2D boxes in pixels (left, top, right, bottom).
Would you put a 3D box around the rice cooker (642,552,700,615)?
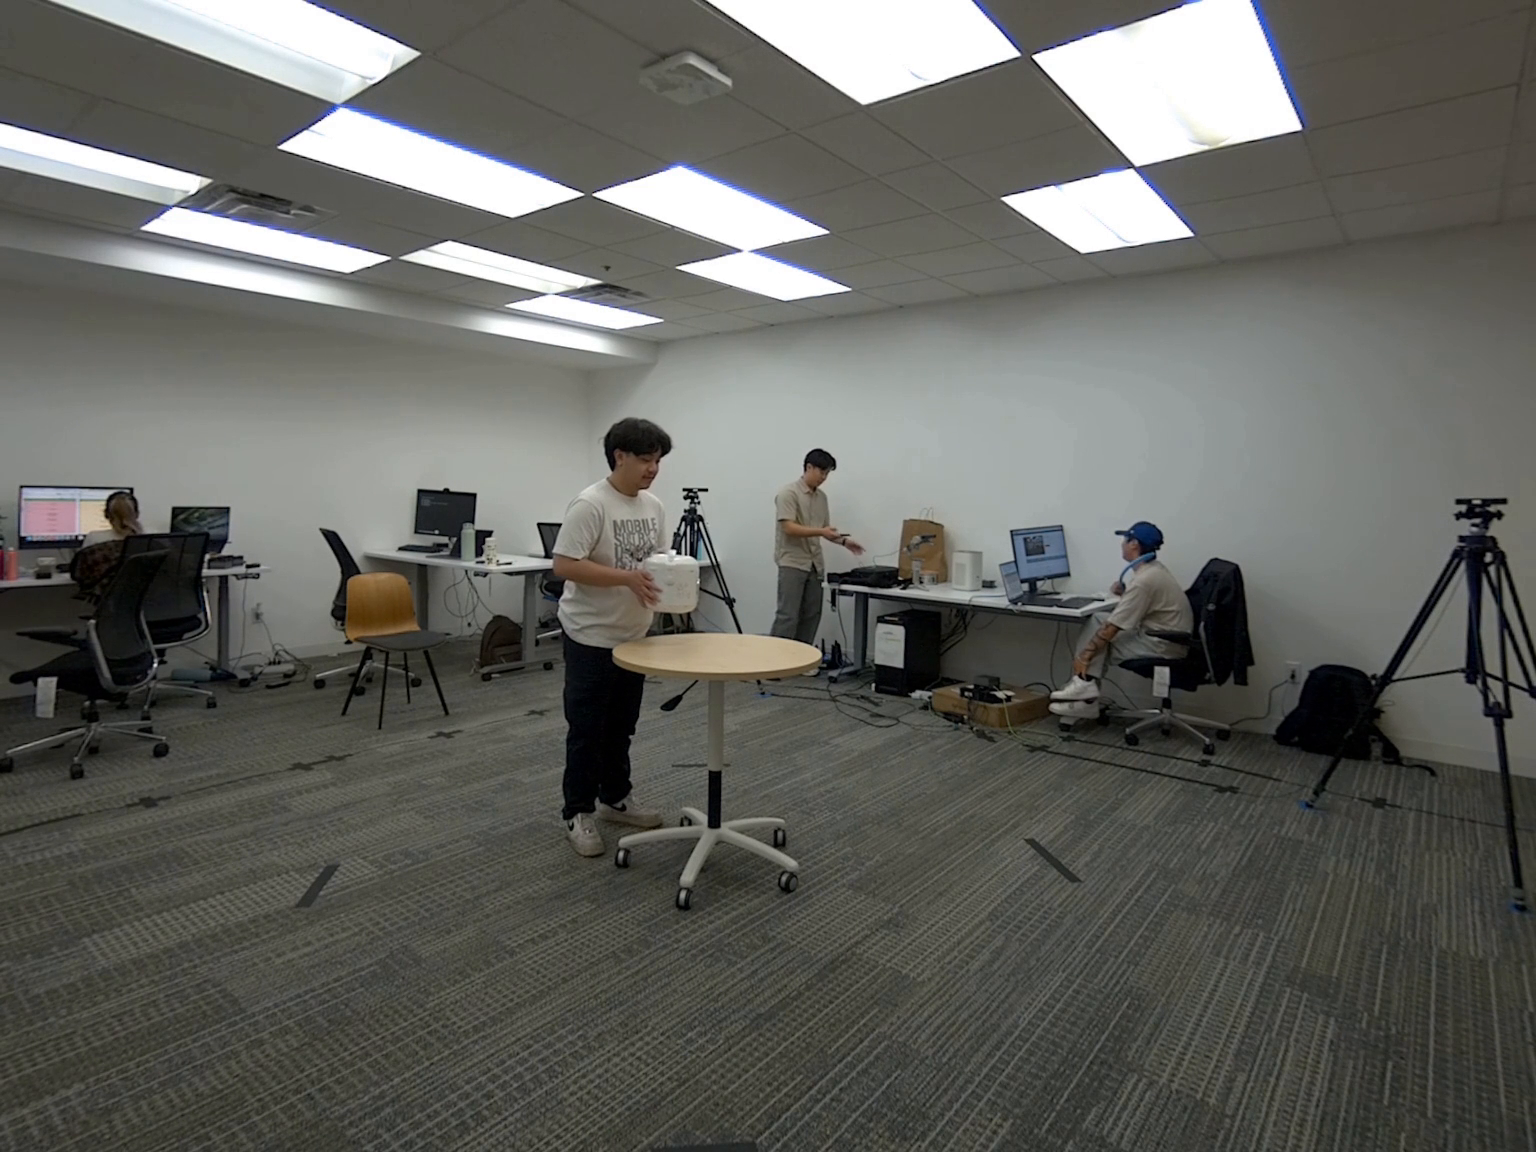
[{"bbox_3d":[-0.375,0.014,3.243,0.218,0.232,0.221,3,5,0],"label":"rice cooker"}]
